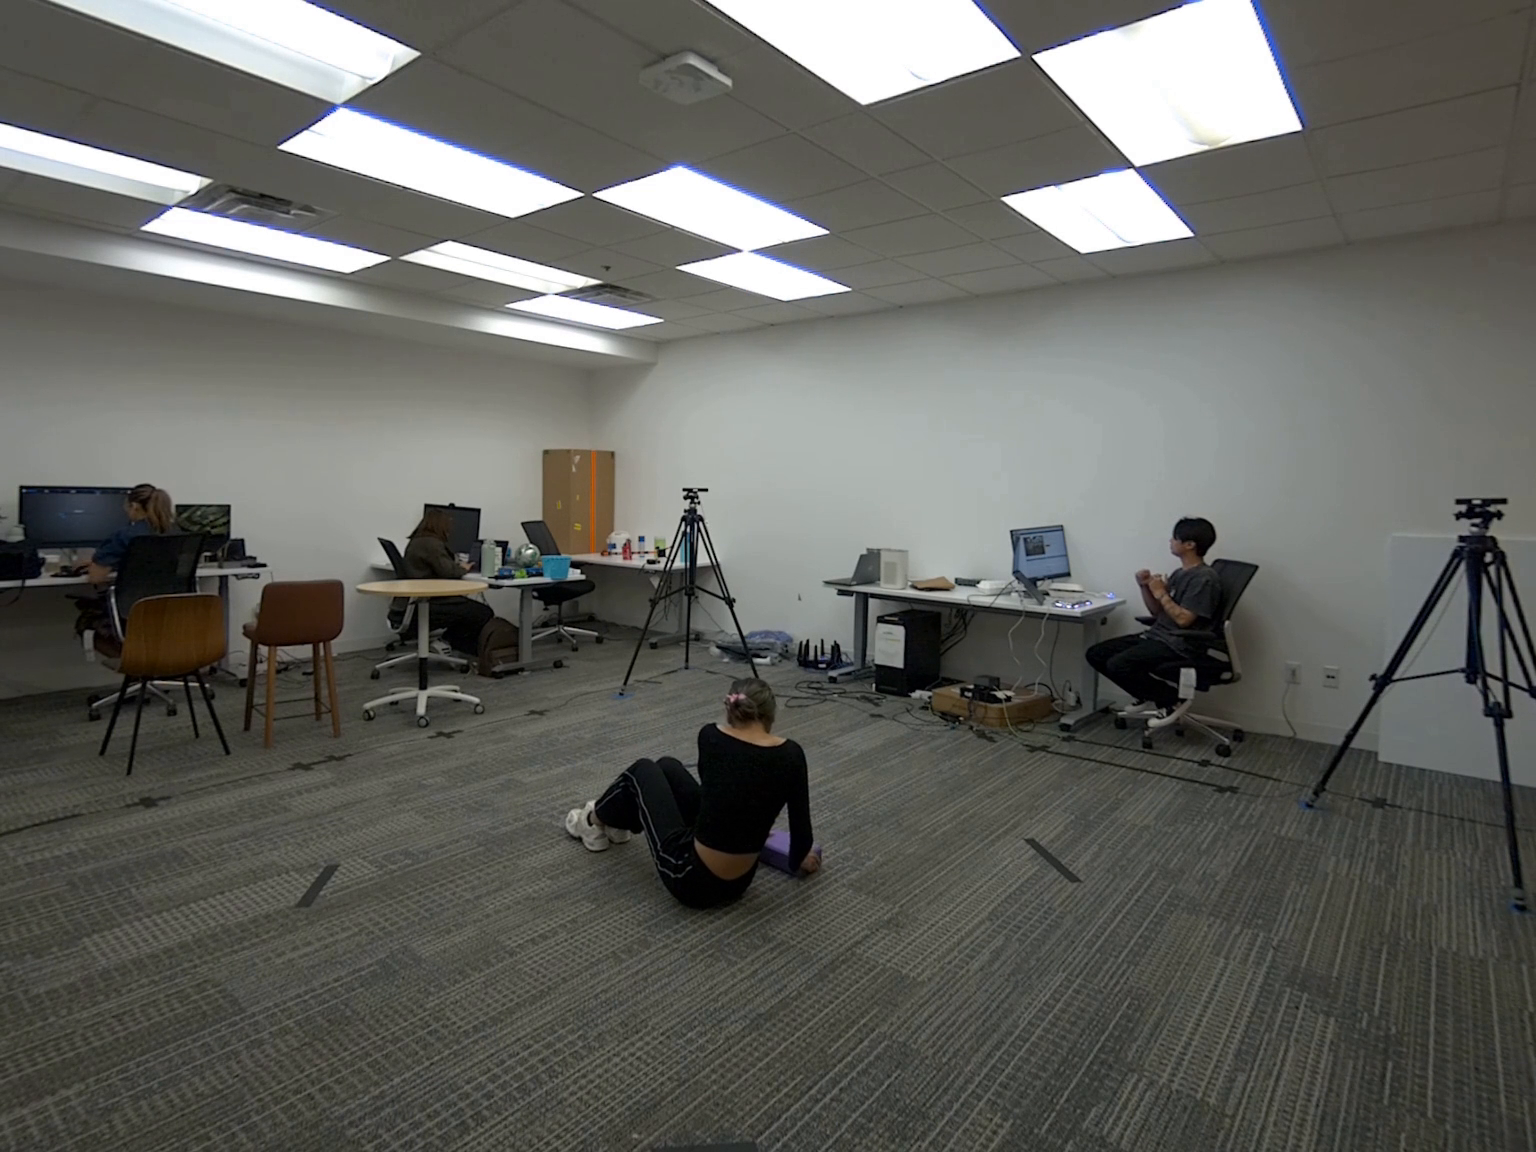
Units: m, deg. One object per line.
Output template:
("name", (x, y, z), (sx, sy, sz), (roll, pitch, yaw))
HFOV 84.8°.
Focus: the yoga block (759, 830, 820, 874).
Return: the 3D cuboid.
("yoga block", (0.063, 1.029, 3.171), (0.237, 0.076, 0.144), (5, 6, 44))
